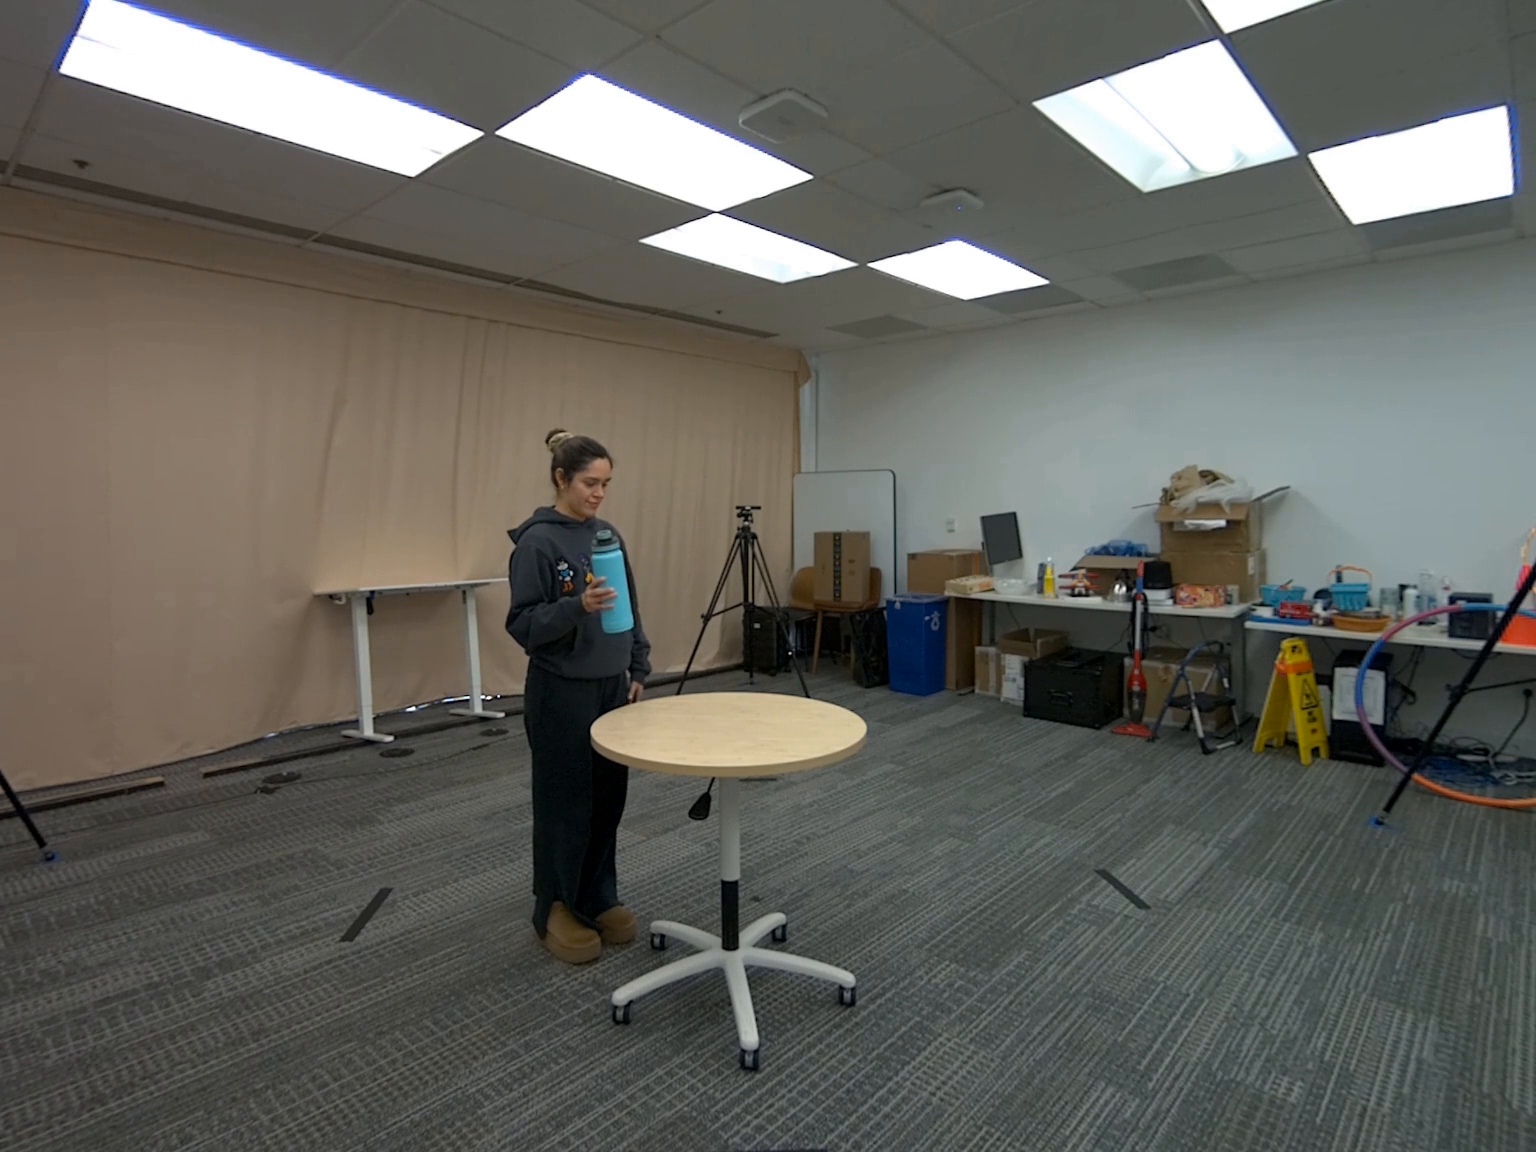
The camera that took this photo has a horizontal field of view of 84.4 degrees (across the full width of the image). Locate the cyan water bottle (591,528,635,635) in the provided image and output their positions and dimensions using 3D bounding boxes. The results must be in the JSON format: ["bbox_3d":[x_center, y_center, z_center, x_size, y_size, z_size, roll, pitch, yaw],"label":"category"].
[{"bbox_3d":[-0.439,0.014,2.373,0.092,0.281,0.093,-6,9,-1],"label":"cyan water bottle"}]
